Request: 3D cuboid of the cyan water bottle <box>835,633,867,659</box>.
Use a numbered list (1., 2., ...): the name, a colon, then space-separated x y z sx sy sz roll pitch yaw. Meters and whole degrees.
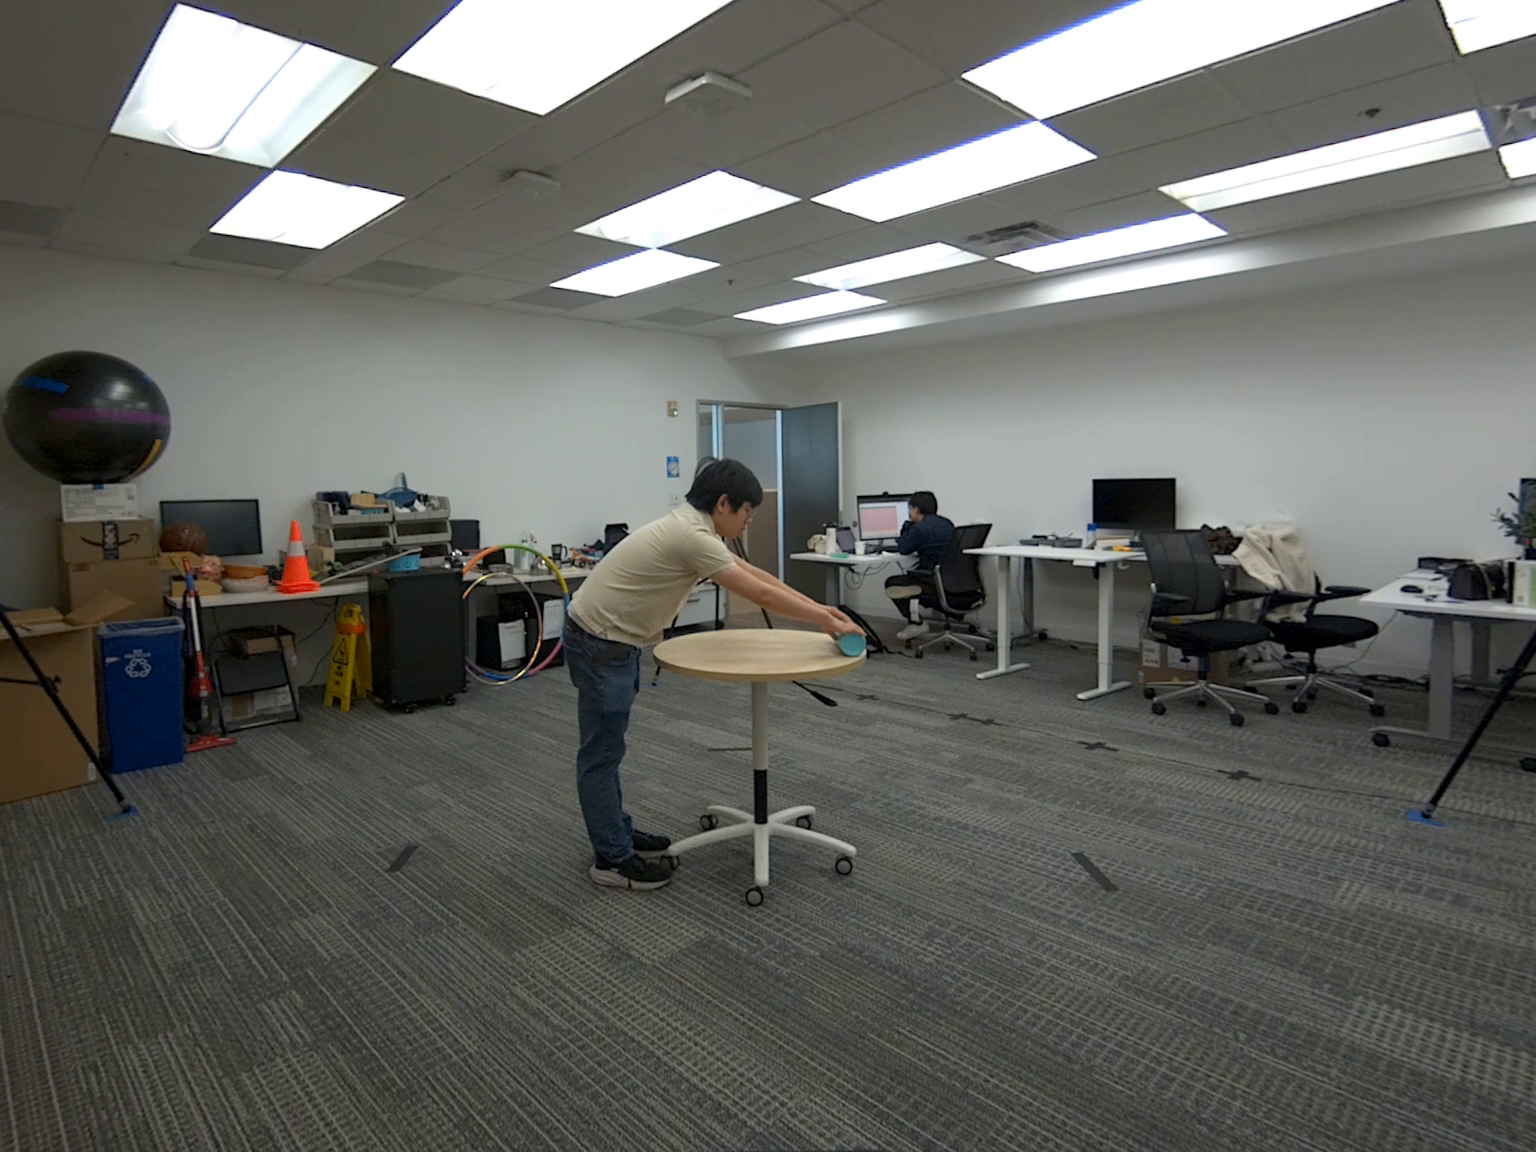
1. cyan water bottle: 0.273 0.221 3.069 0.092 0.092 0.284 -1 5 0
